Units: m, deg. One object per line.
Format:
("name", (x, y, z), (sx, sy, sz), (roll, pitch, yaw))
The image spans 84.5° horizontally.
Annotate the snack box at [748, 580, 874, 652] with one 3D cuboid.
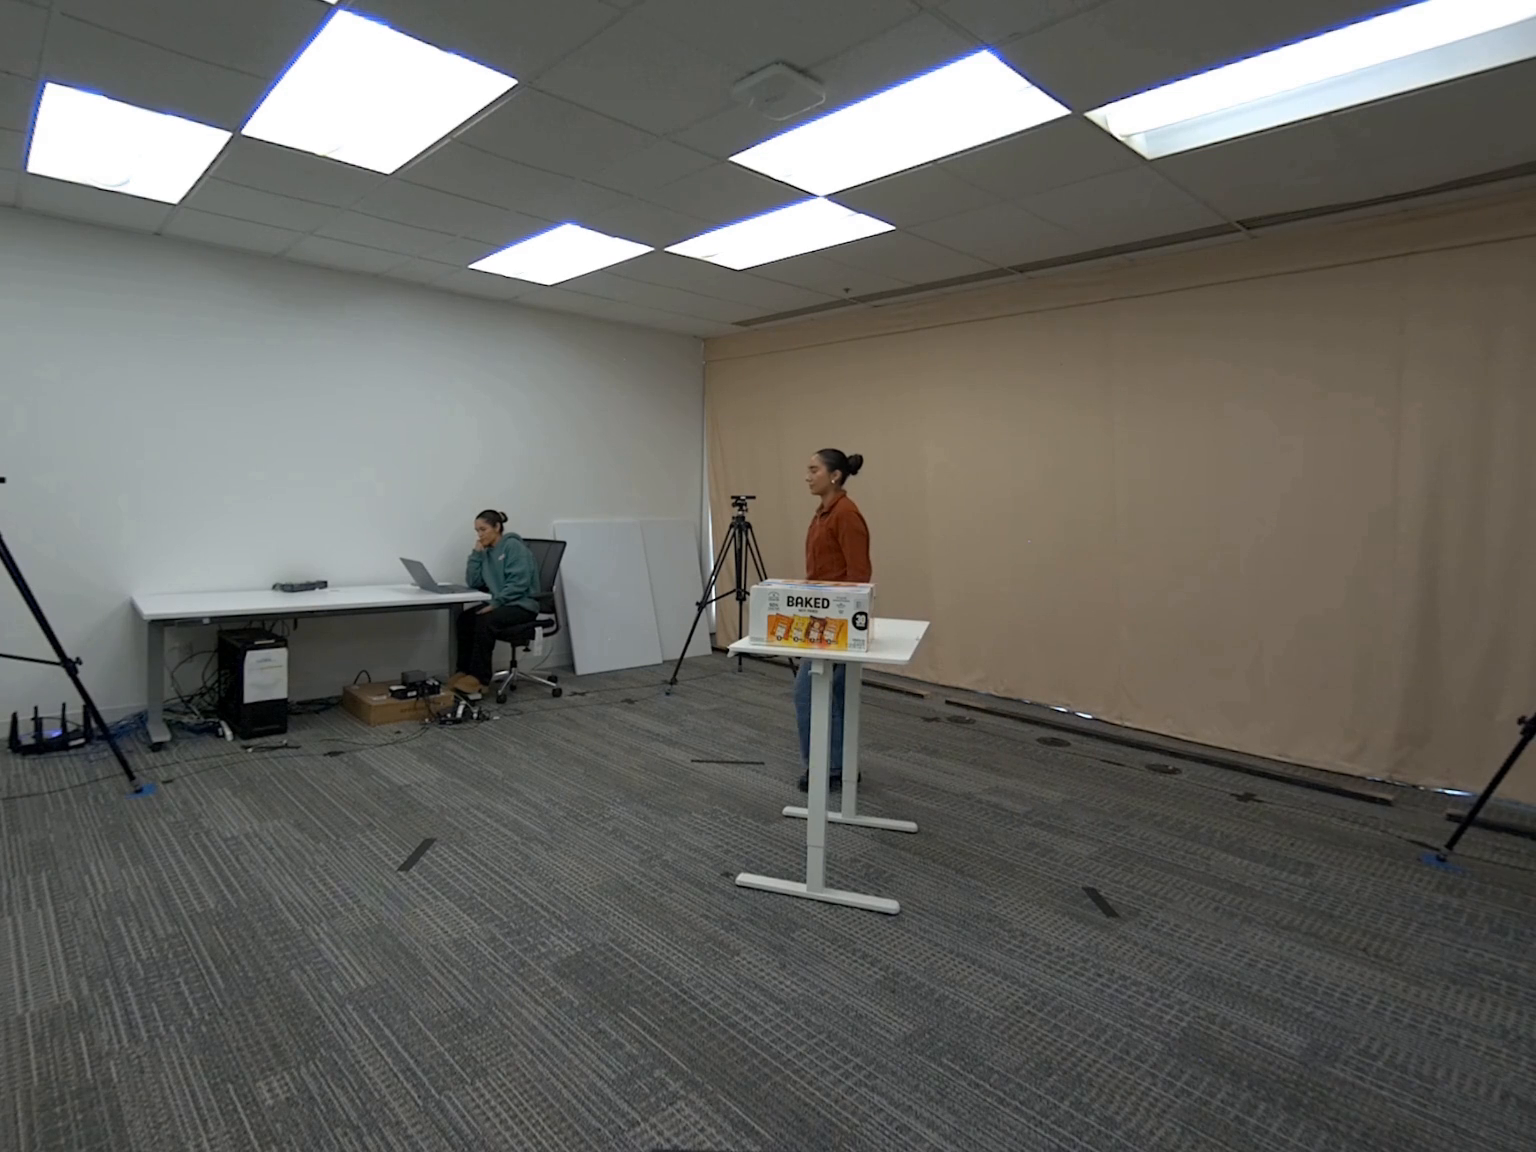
("snack box", (0.160, 0.135, 3.014), (0.409, 0.205, 0.337), (3, 4, 12))
